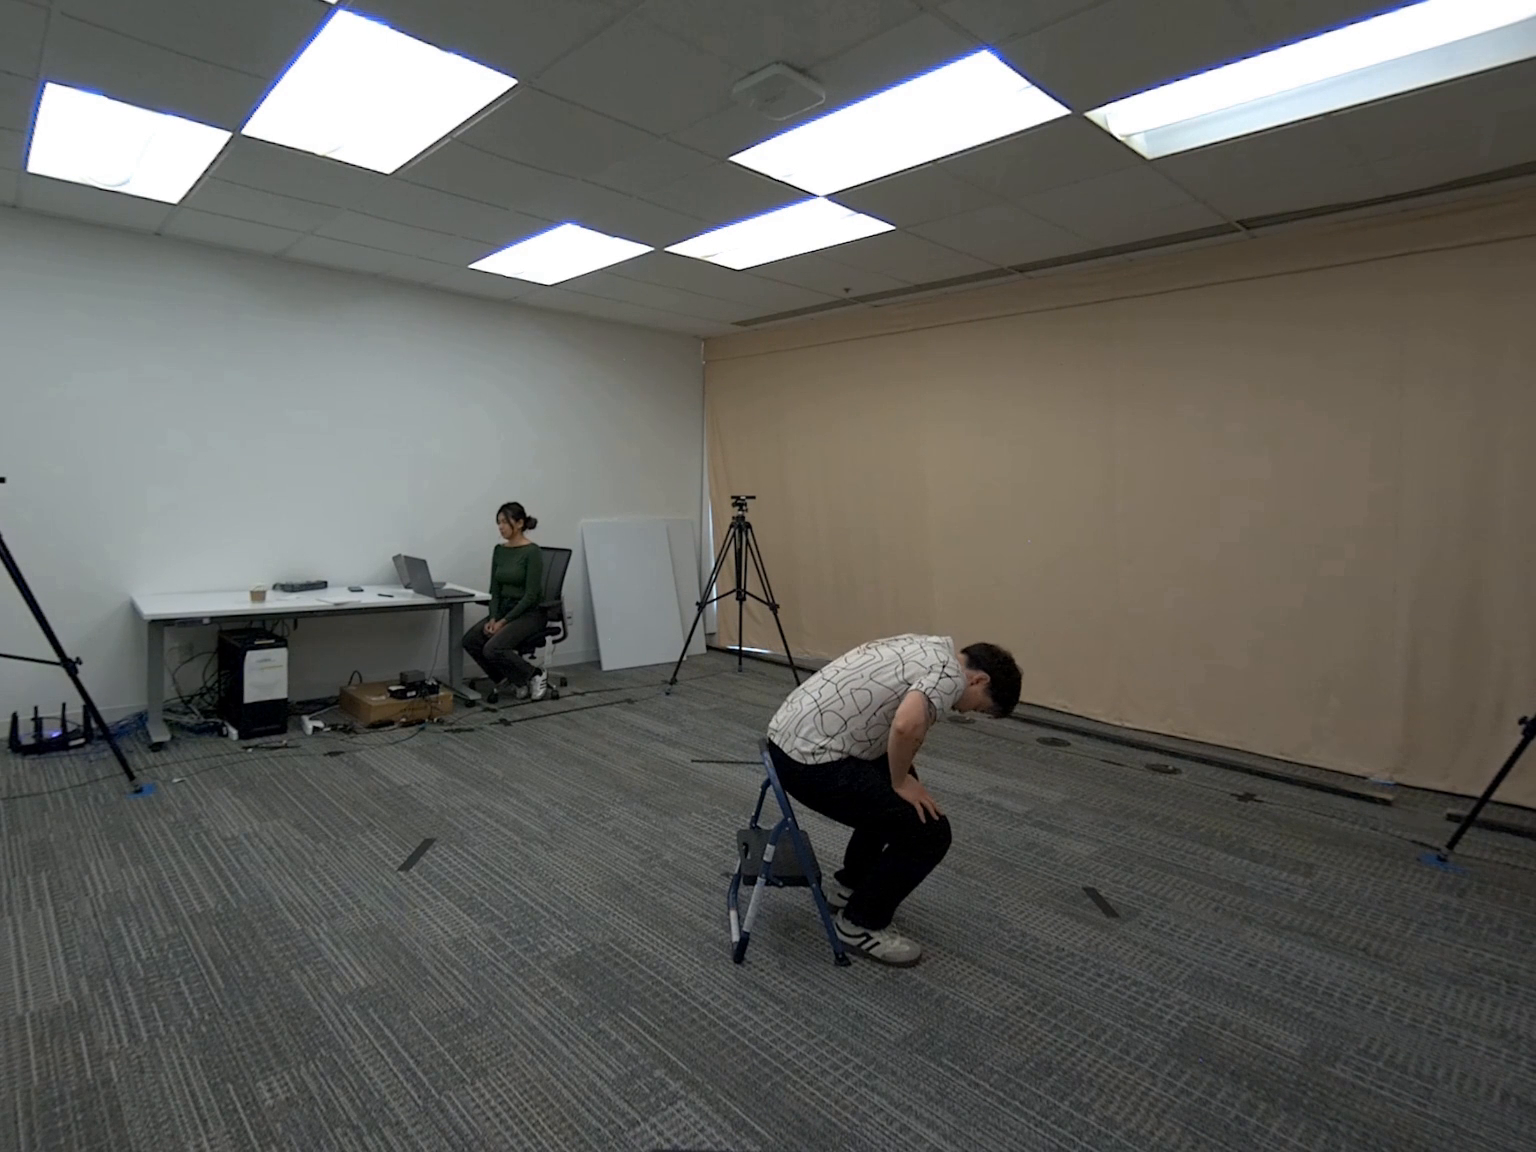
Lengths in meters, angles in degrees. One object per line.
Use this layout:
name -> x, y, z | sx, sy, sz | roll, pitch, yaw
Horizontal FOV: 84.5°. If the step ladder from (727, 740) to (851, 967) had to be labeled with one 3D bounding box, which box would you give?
step ladder -> 0.045, 0.846, 2.700 | 0.348, 0.604, 0.433 | 1, 4, -5
